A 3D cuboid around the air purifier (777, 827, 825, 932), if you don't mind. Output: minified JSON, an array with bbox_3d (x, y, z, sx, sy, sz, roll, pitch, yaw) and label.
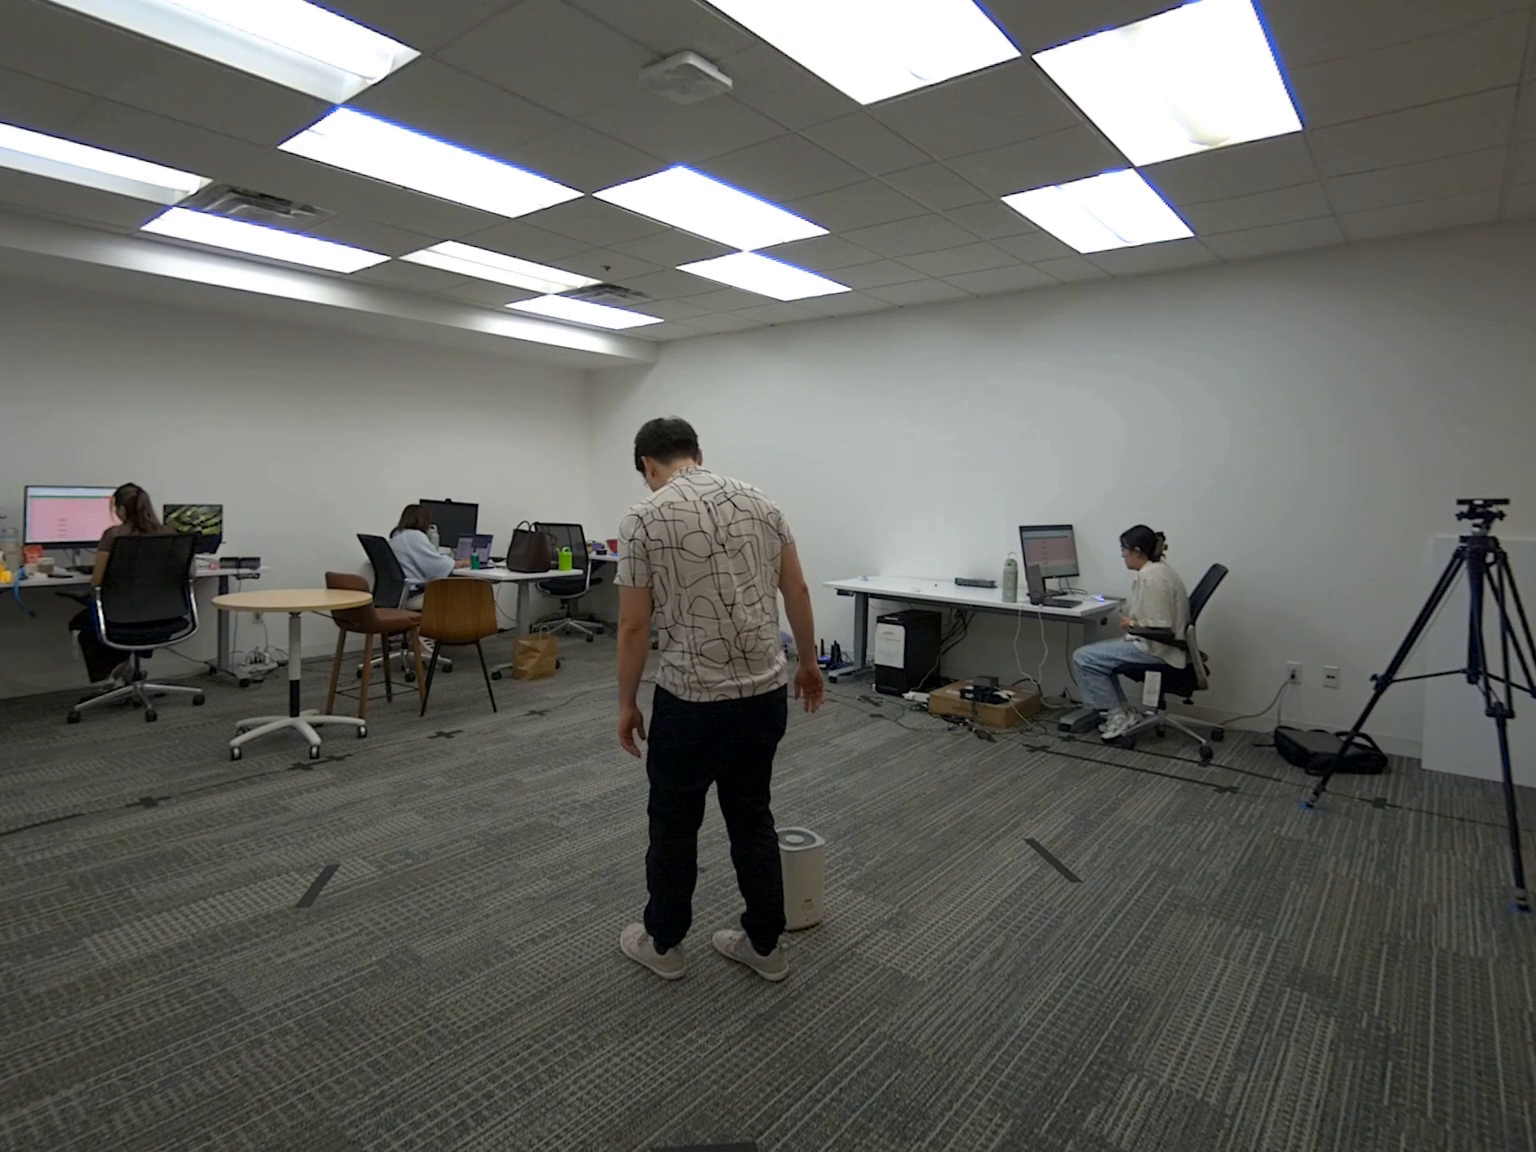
[{"bbox_3d":[0.081,0.977,2.753,0.167,0.264,0.176,0,4,-32],"label":"air purifier"}]
